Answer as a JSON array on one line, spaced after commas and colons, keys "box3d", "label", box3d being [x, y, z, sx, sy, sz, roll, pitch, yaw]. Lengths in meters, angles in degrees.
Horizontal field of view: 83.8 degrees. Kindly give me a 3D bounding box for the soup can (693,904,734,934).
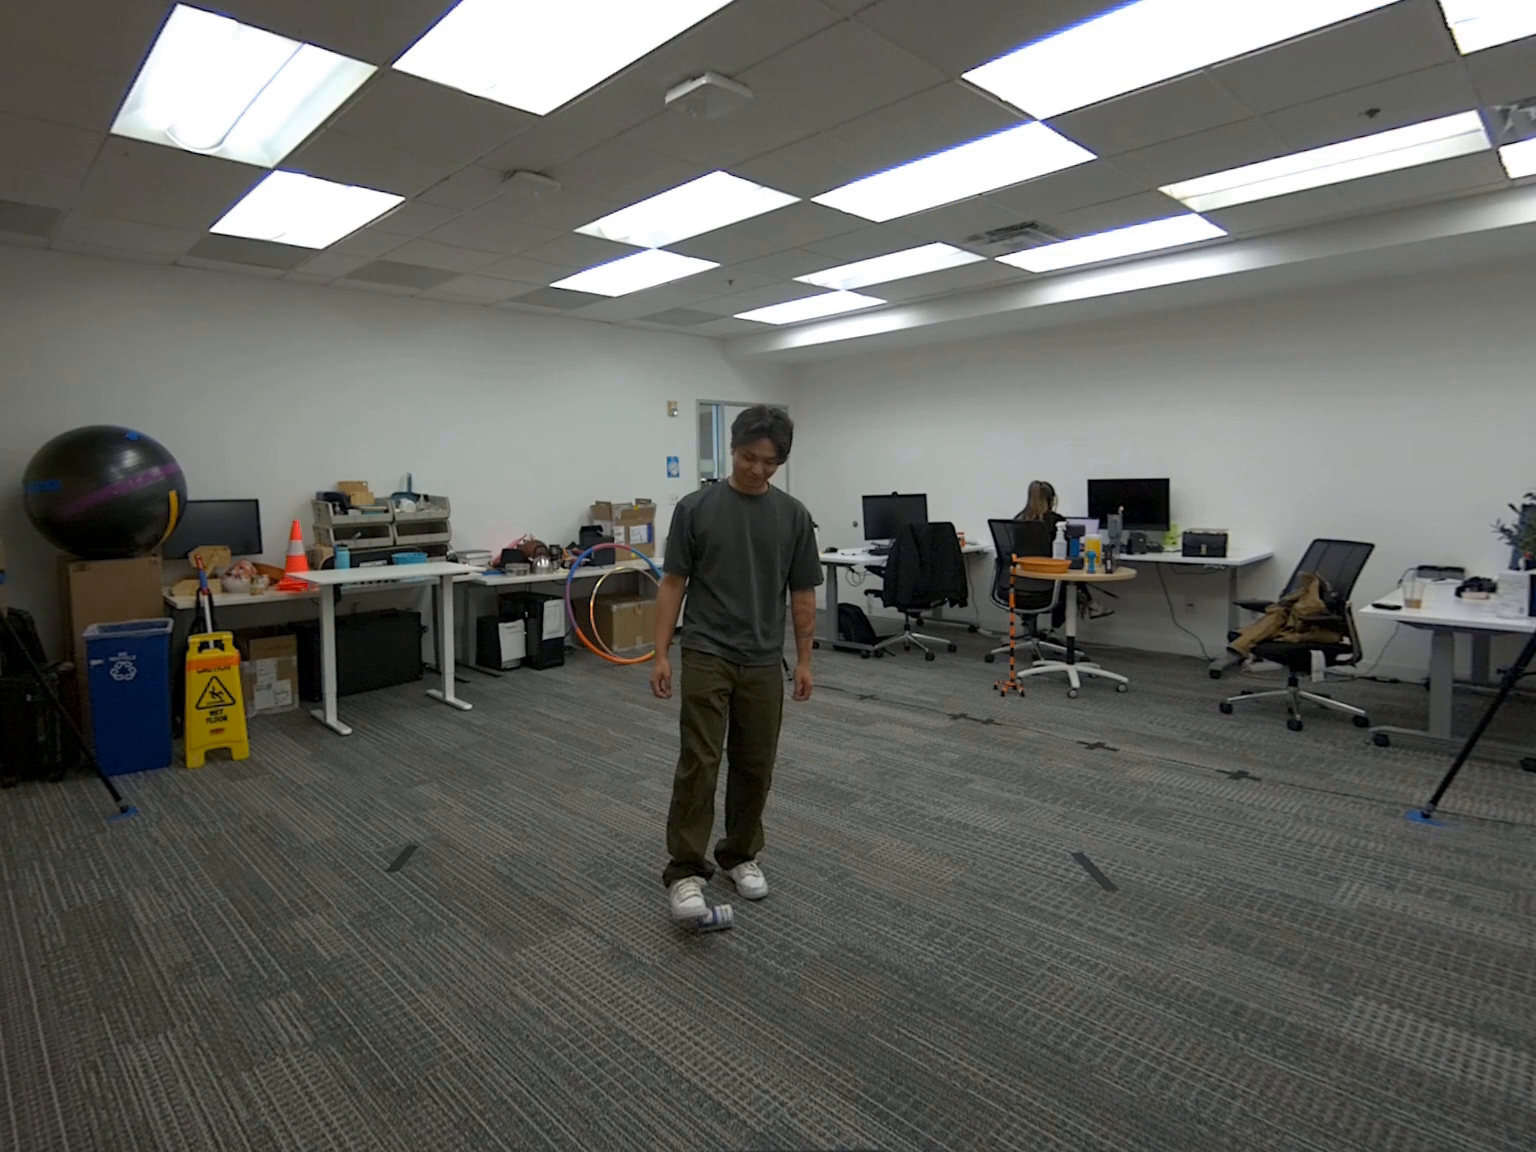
[{"box3d": [-0.183, 1.060, 2.649, 0.121, 0.067, 0.068, -2, 5, -5], "label": "soup can"}]
